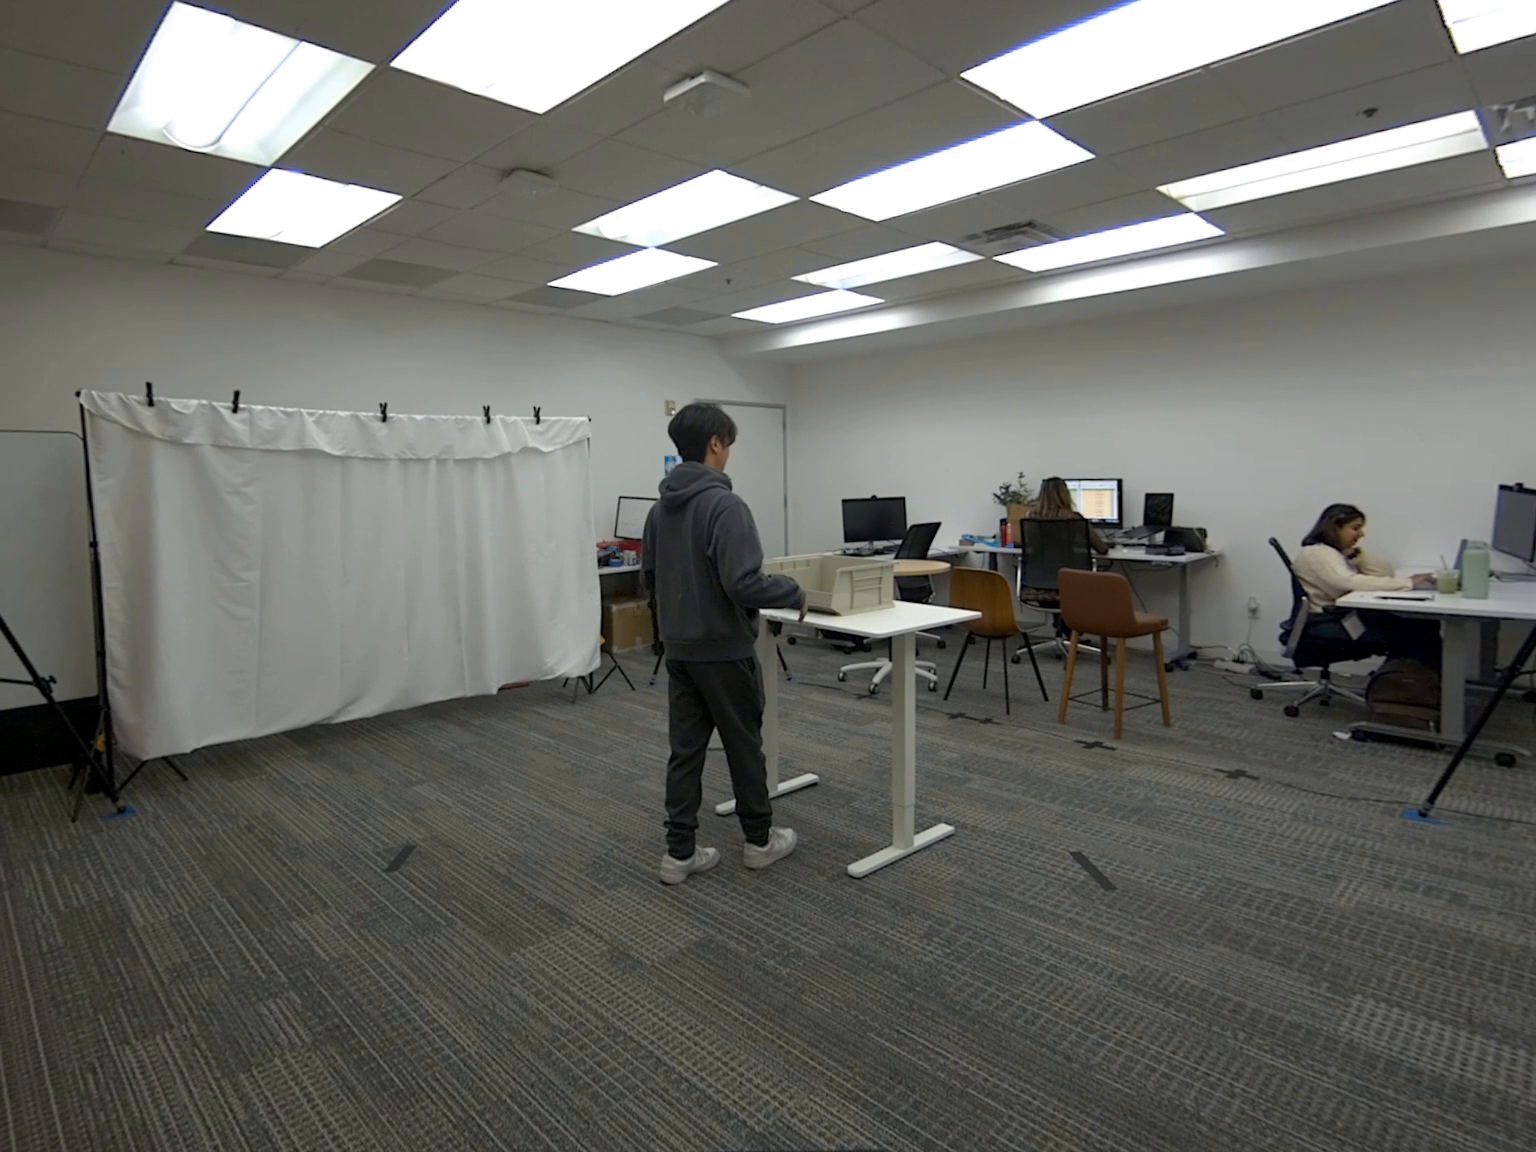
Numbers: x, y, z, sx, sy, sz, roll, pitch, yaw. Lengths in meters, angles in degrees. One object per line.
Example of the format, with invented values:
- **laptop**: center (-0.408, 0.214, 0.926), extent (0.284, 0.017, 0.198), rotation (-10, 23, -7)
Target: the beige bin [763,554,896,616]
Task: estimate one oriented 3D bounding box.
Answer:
- **beige bin**: center (0.234, 0.034, 3.395), extent (0.367, 0.188, 0.435), rotation (-6, 8, -41)
